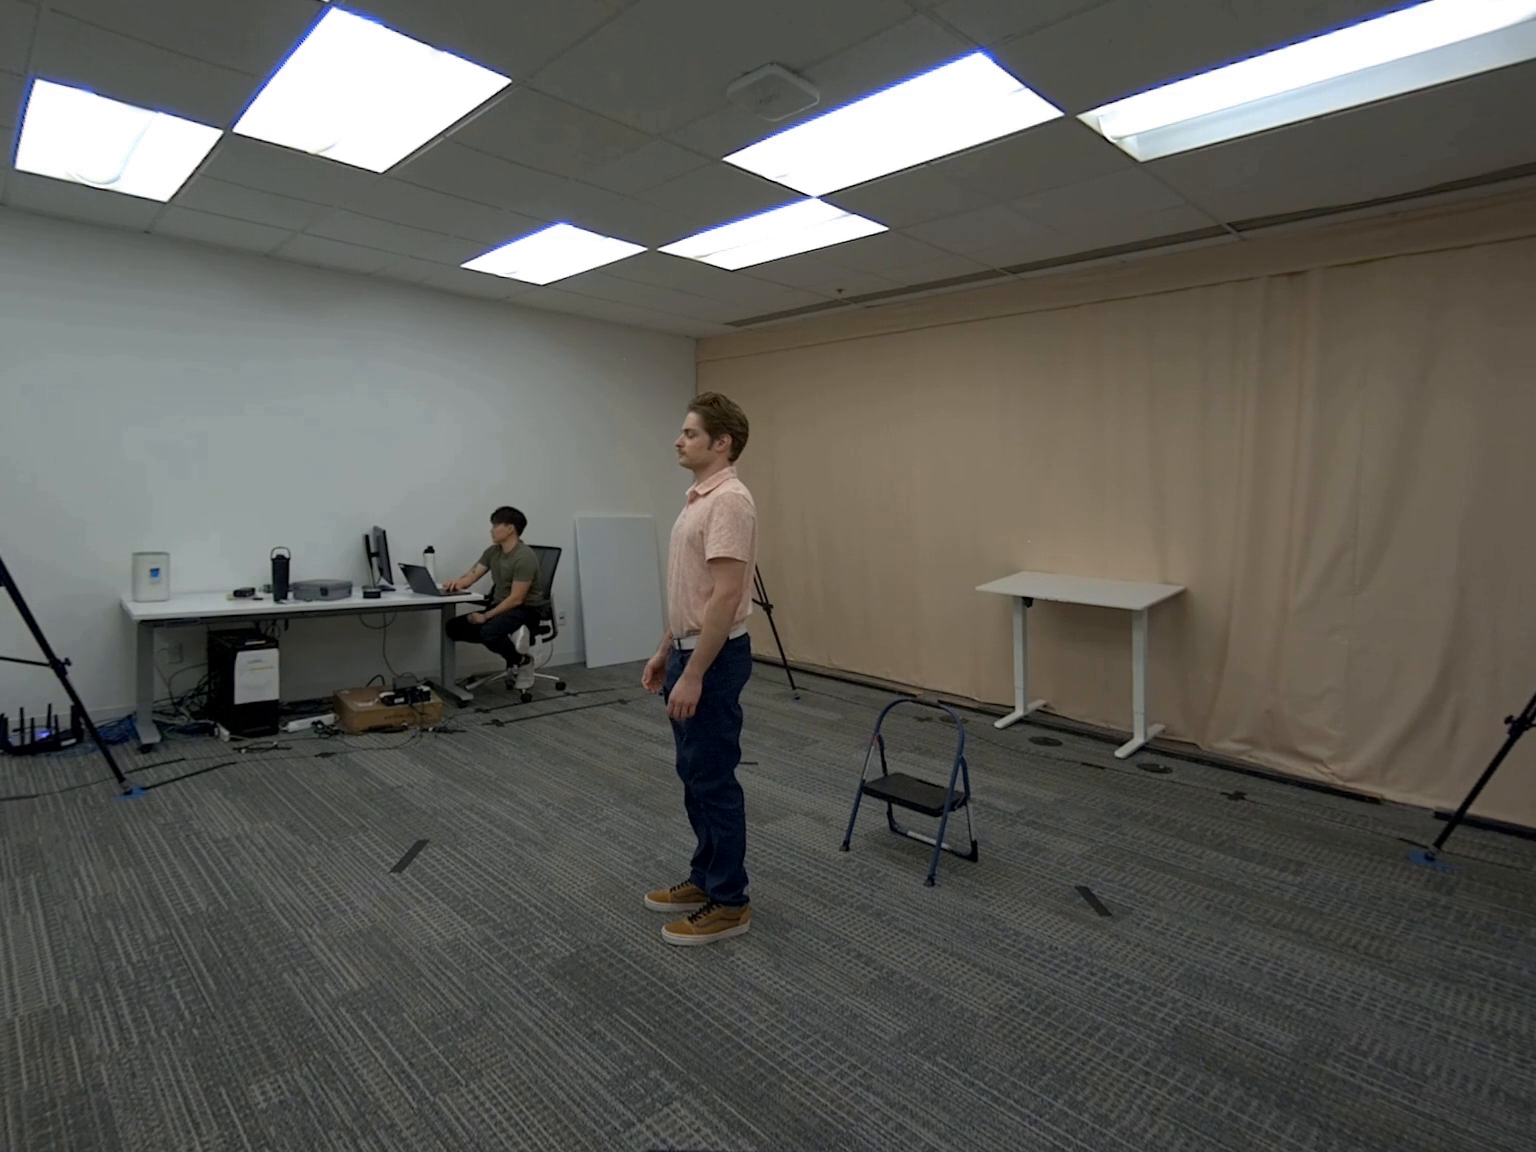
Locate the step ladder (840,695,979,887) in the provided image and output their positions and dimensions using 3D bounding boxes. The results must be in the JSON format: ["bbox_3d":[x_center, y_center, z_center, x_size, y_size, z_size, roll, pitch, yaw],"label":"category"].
[{"bbox_3d":[0.558,0.800,3.304,0.341,0.604,0.442,-1,5,-45],"label":"step ladder"}]
